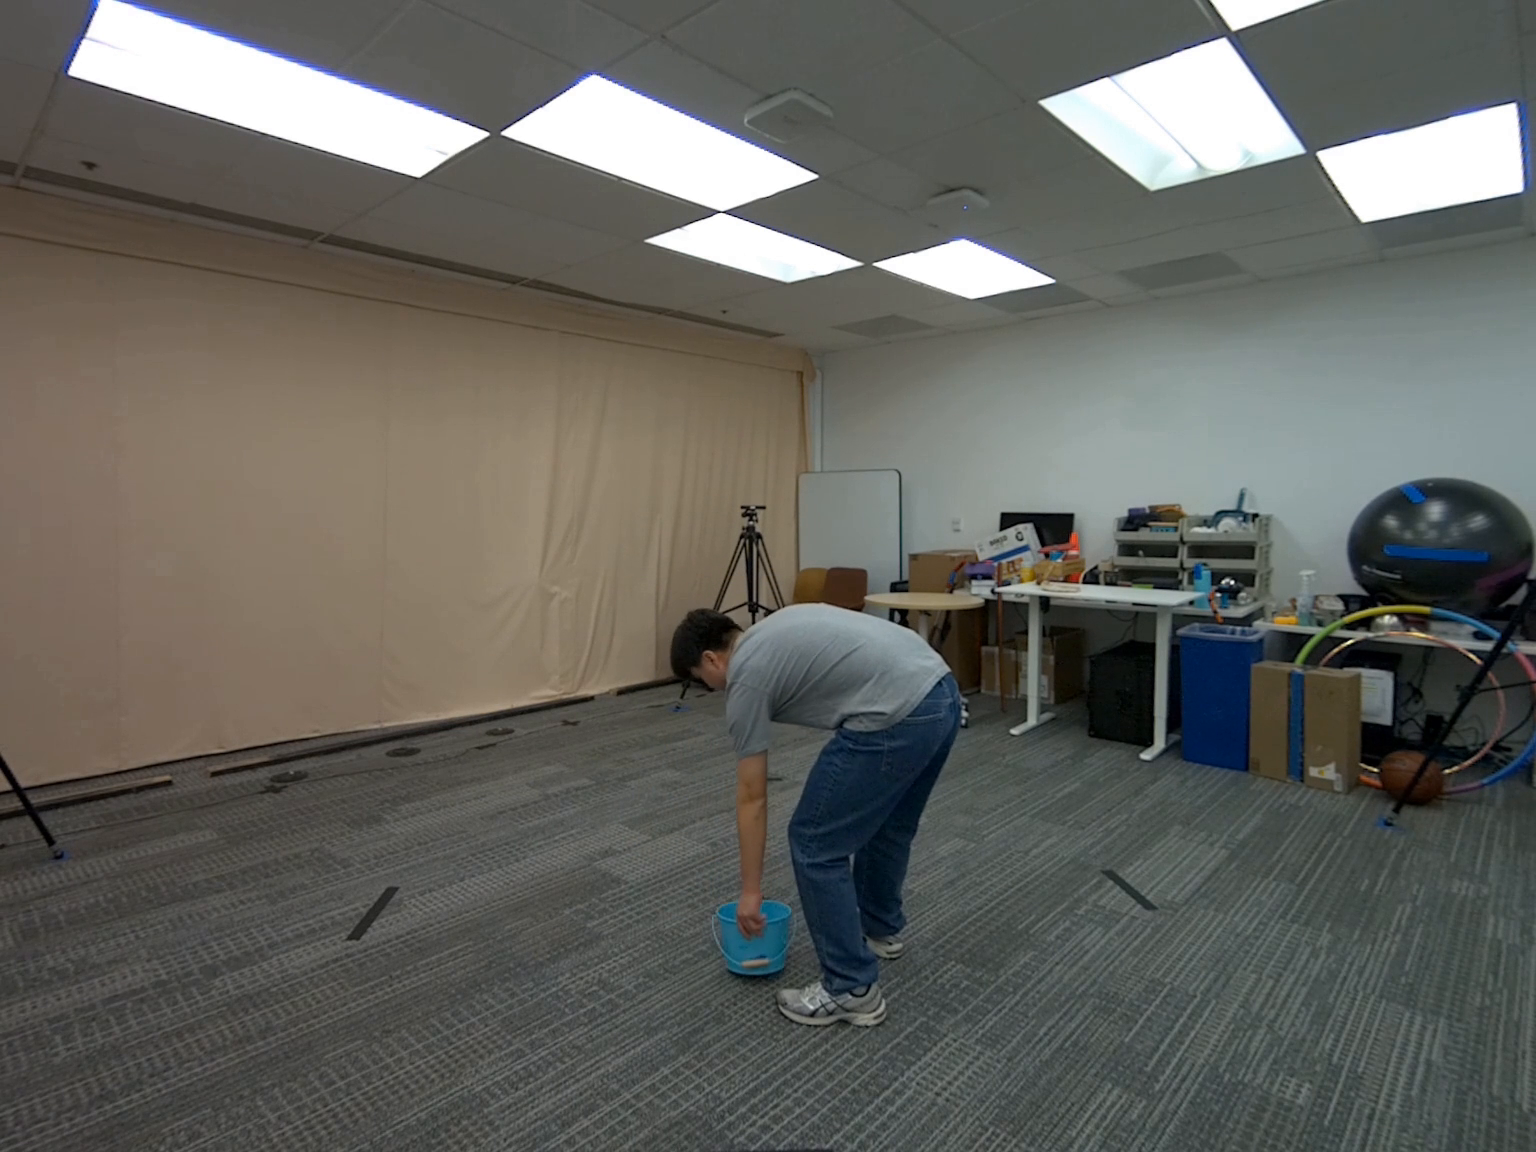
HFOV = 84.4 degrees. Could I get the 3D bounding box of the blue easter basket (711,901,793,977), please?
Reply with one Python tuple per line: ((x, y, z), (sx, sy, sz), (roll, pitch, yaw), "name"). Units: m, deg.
((-0.044, 1.091, 2.534), (0.243, 0.156, 0.243), (-1, -7, -2), "blue easter basket")
